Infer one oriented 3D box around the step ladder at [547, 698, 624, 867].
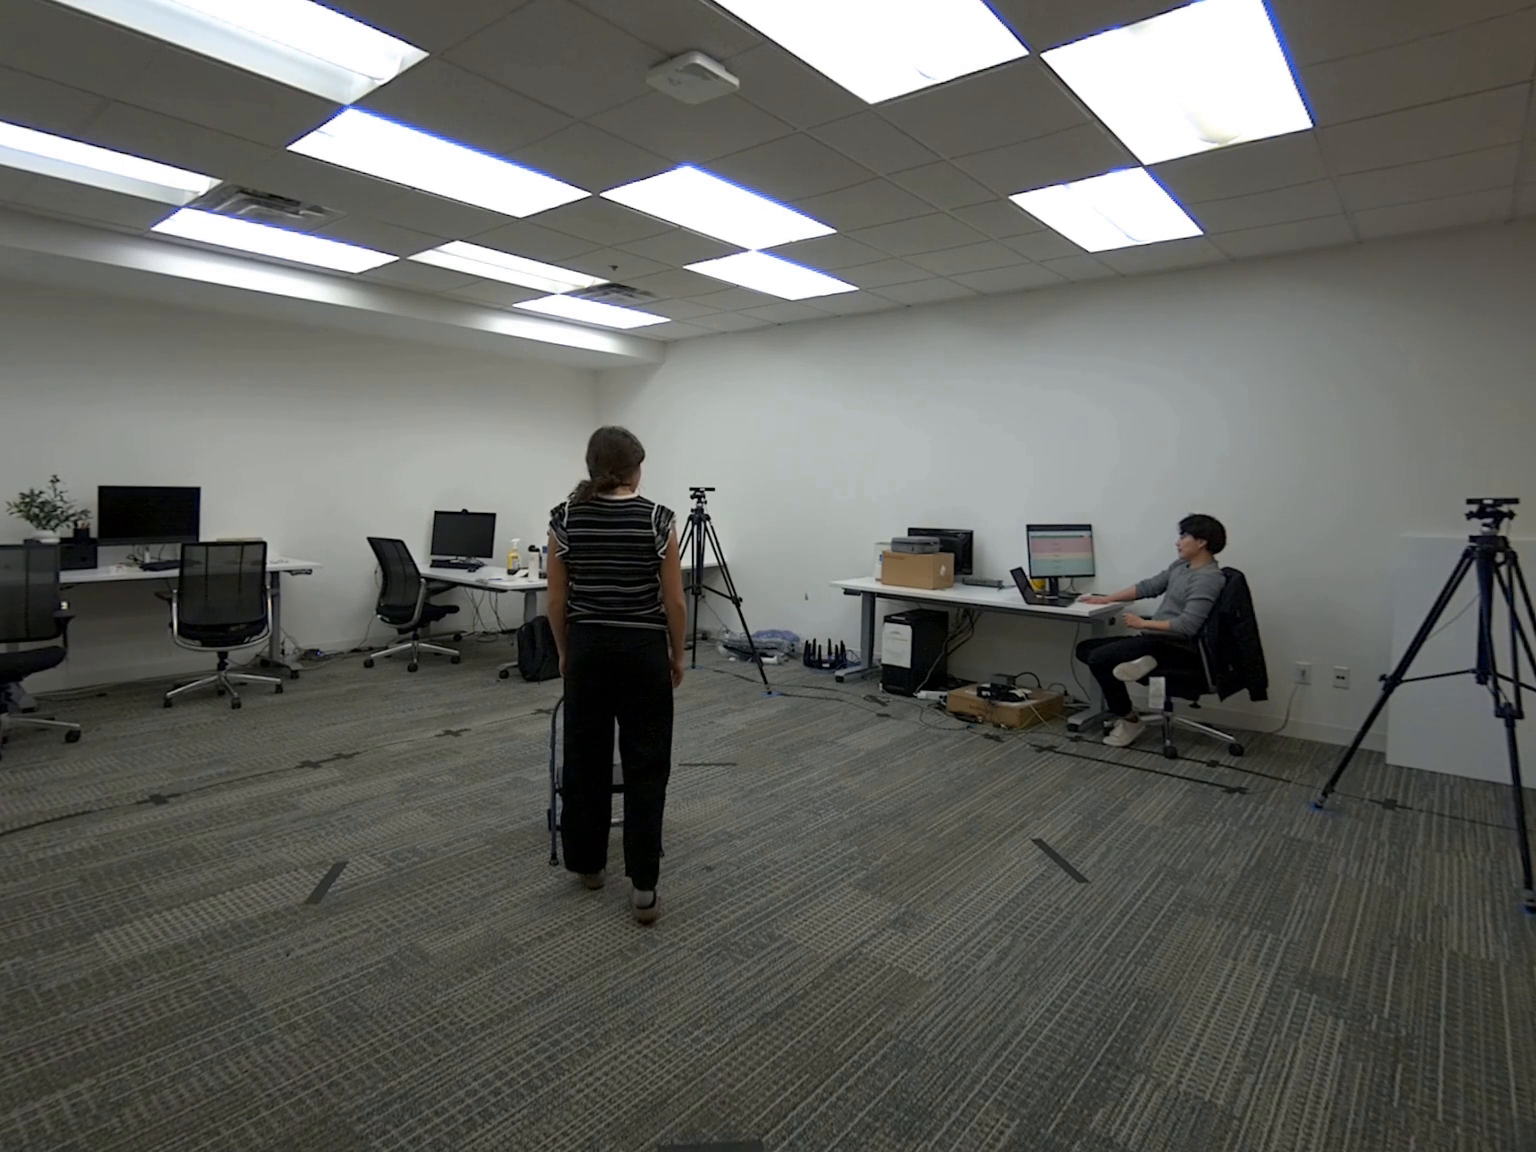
[{"bbox_3d":[-0.648,0.733,3.313,0.424,0.604,0.356,1,3,-16],"label":"step ladder"}]
